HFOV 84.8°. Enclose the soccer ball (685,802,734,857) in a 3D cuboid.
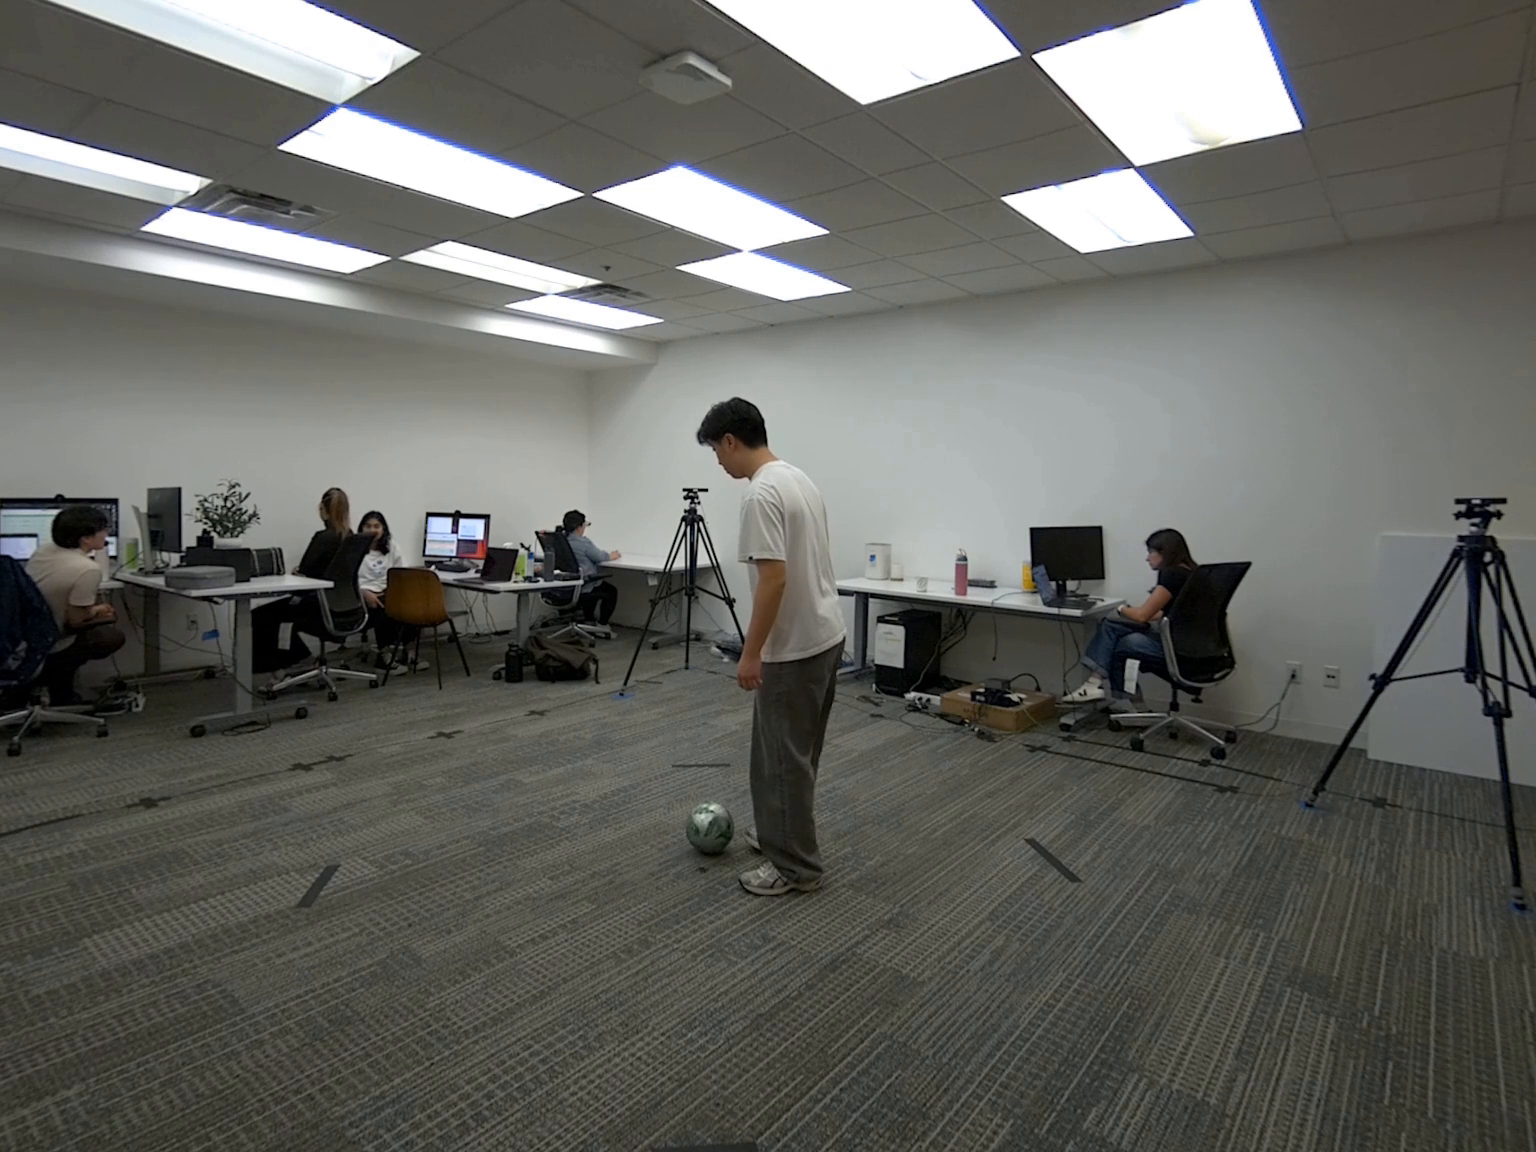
[{"bbox_3d":[-0.222,0.958,3.270,0.187,0.187,0.188,1,4,-2],"label":"soccer ball"}]
